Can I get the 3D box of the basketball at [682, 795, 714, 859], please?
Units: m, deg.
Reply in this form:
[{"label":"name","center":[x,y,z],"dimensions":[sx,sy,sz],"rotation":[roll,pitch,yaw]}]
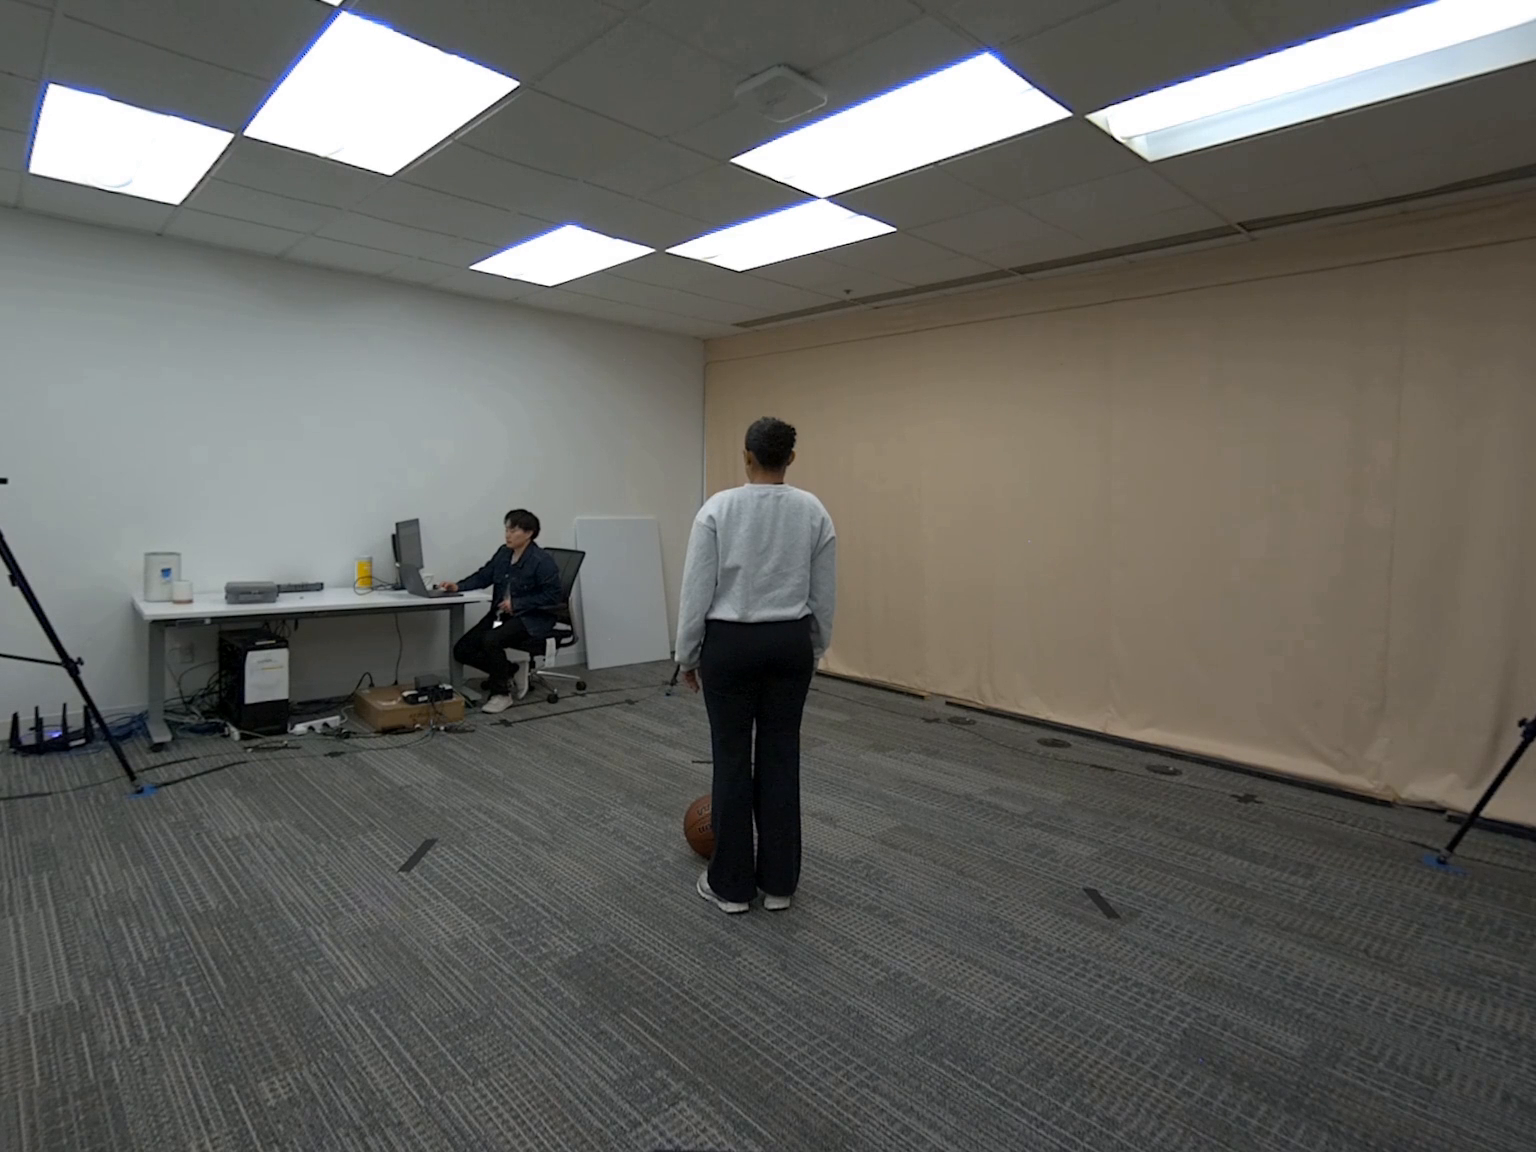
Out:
[{"label":"basketball","center":[-0.216,0.970,3.271],"dimensions":[0.236,0.235,0.237],"rotation":[1,4,-1]}]
